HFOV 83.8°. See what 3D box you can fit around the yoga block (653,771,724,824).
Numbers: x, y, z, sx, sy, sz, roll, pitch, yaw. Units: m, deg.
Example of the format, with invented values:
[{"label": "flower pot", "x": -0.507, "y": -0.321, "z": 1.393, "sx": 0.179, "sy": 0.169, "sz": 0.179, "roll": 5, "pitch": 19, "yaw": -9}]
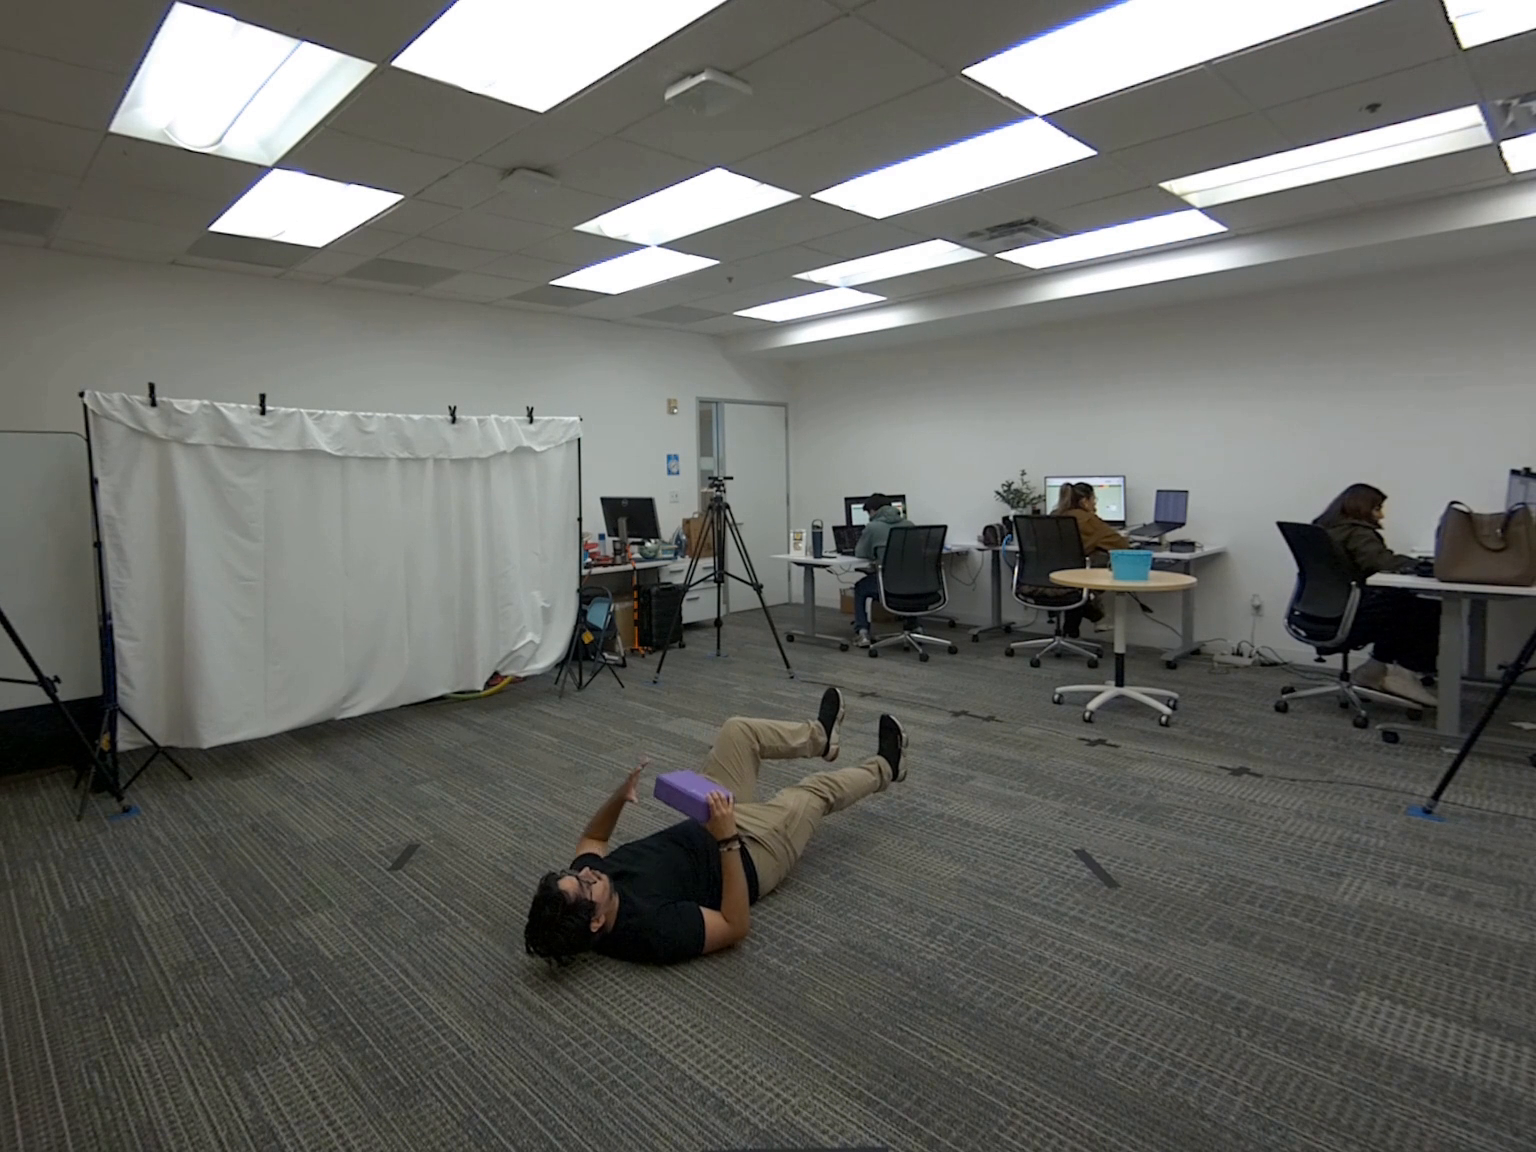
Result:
[{"label": "yoga block", "x": -0.222, "y": 0.696, "z": 2.723, "sx": 0.237, "sy": 0.076, "sz": 0.144, "roll": 12, "pitch": 6, "yaw": 39}]
